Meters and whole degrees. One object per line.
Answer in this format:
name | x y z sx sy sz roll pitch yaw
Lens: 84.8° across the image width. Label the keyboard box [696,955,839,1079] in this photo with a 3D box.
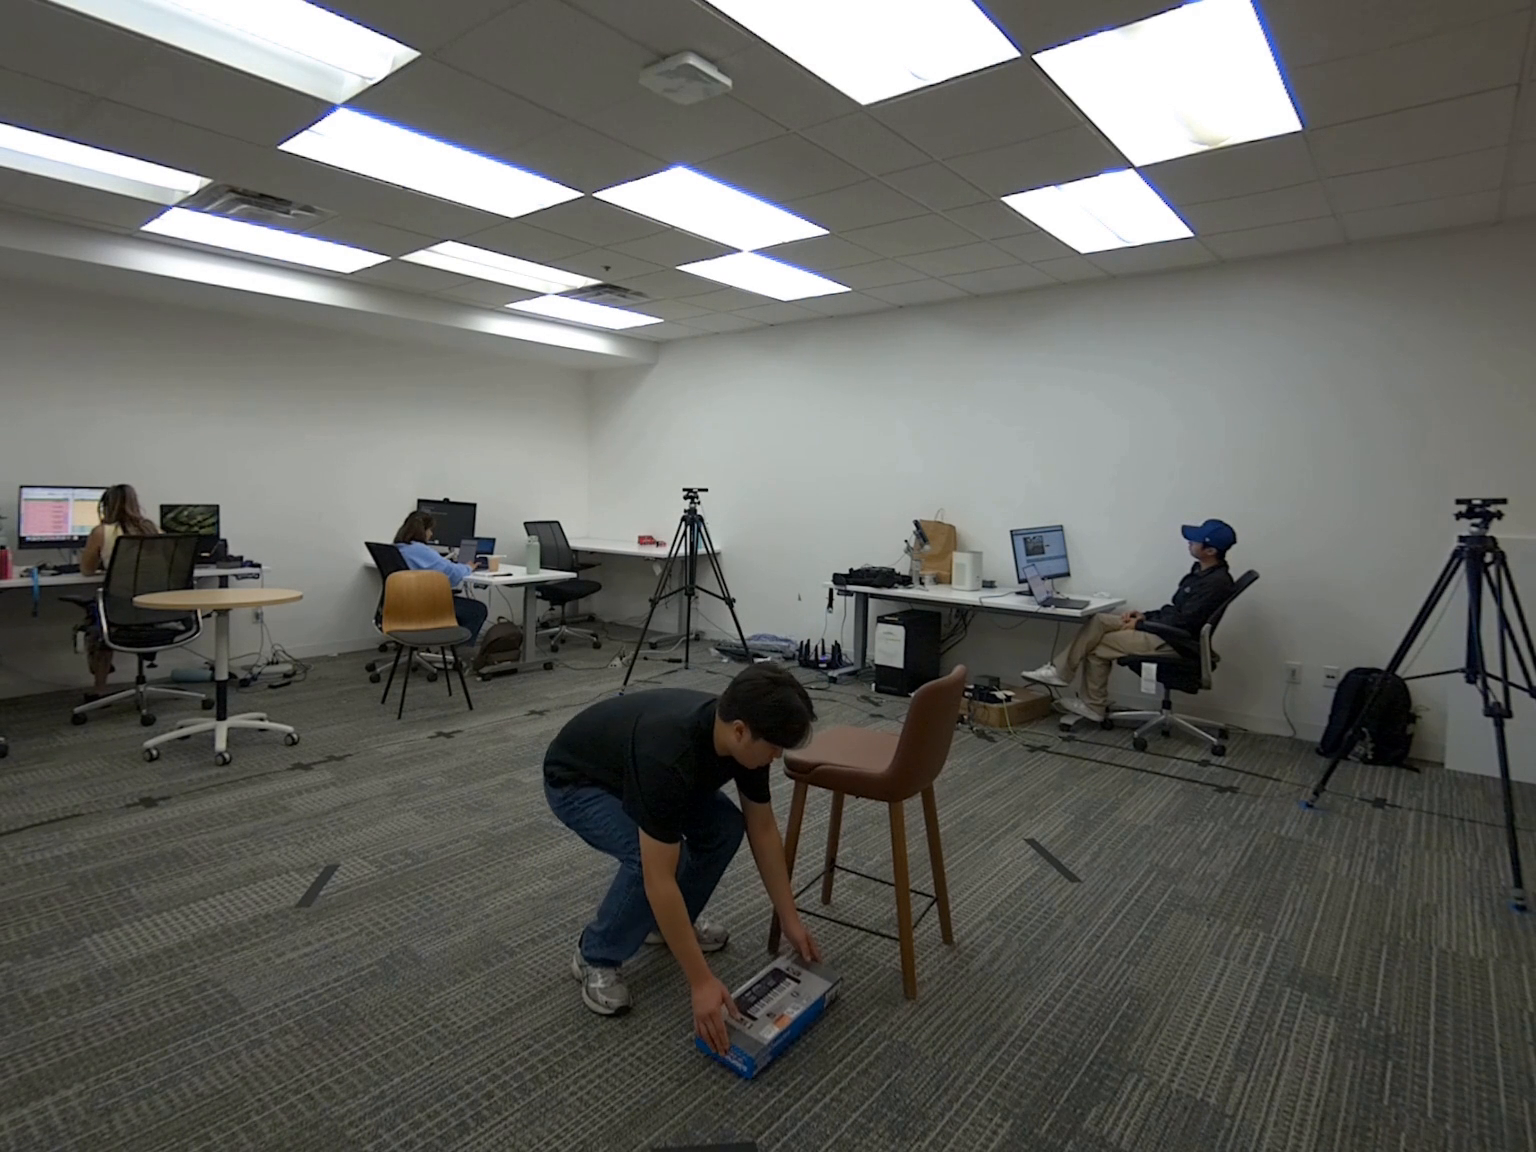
keyboard box | 0.010 1.113 2.209 0.182 0.059 0.424 10 10 36
